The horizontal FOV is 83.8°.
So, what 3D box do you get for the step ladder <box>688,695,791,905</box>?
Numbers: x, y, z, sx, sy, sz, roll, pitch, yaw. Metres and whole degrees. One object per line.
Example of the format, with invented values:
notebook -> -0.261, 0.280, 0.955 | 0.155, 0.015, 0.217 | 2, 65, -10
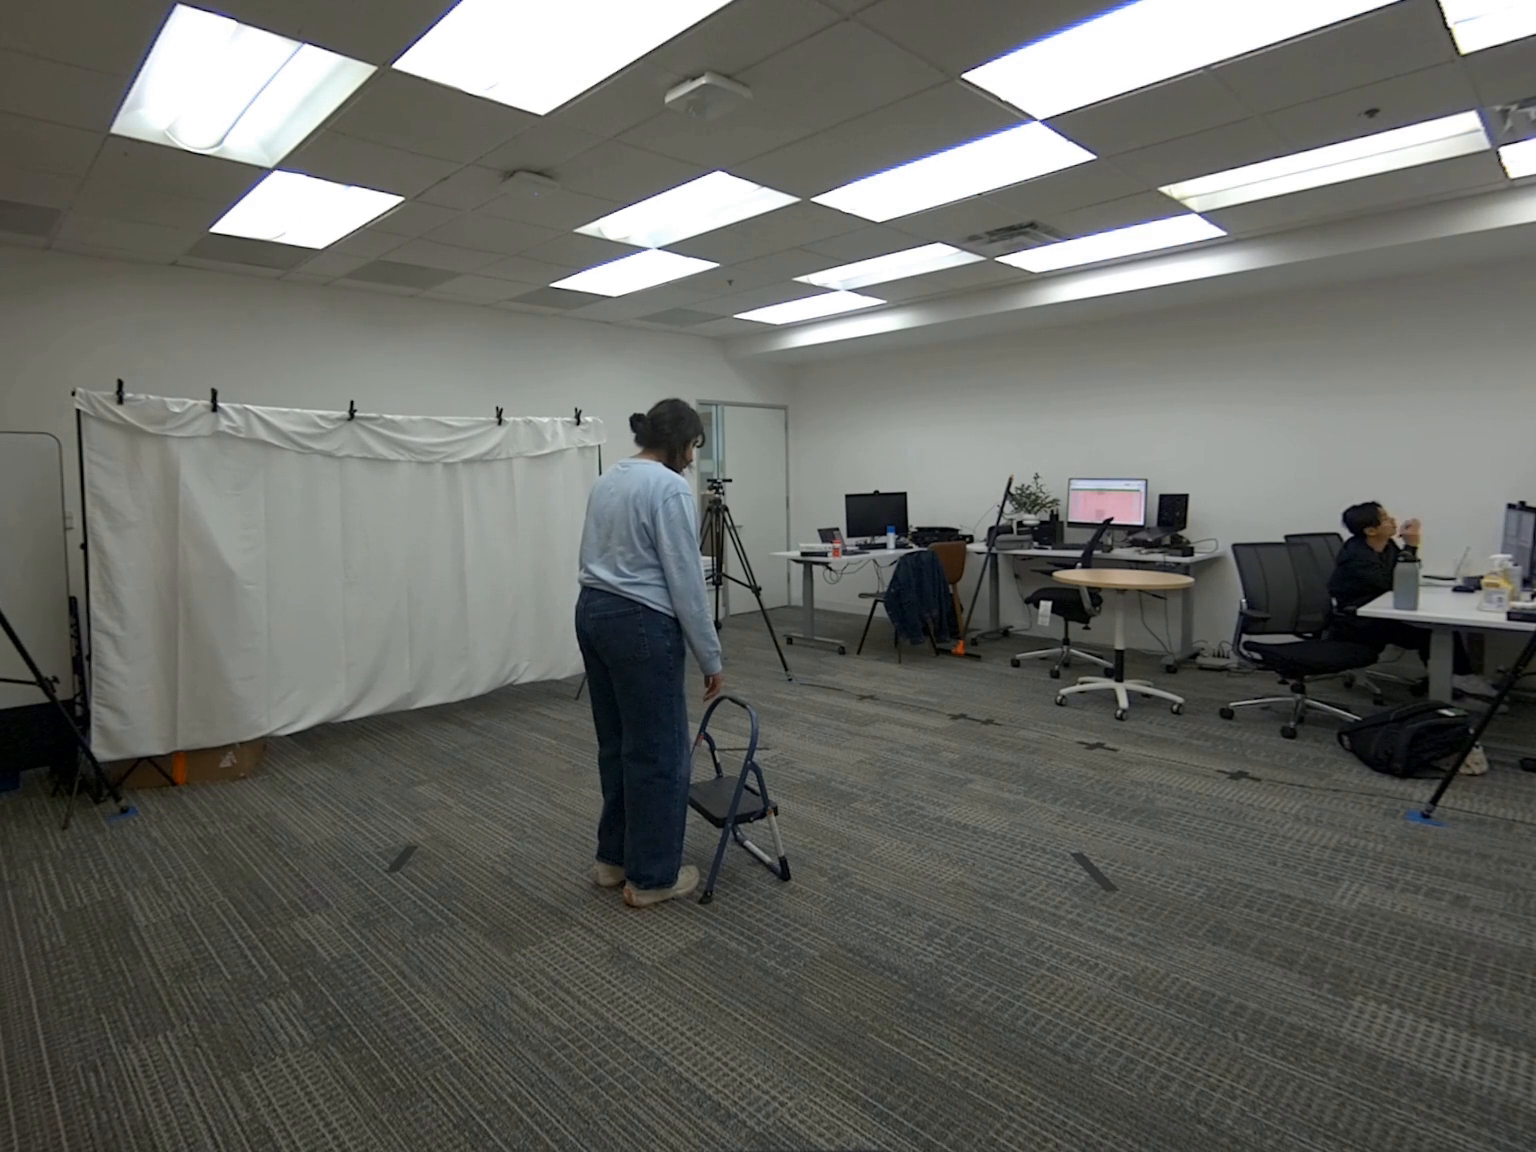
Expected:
step ladder -> -0.168, 0.747, 3.056 | 0.341, 0.603, 0.442 | -4, 6, -28
